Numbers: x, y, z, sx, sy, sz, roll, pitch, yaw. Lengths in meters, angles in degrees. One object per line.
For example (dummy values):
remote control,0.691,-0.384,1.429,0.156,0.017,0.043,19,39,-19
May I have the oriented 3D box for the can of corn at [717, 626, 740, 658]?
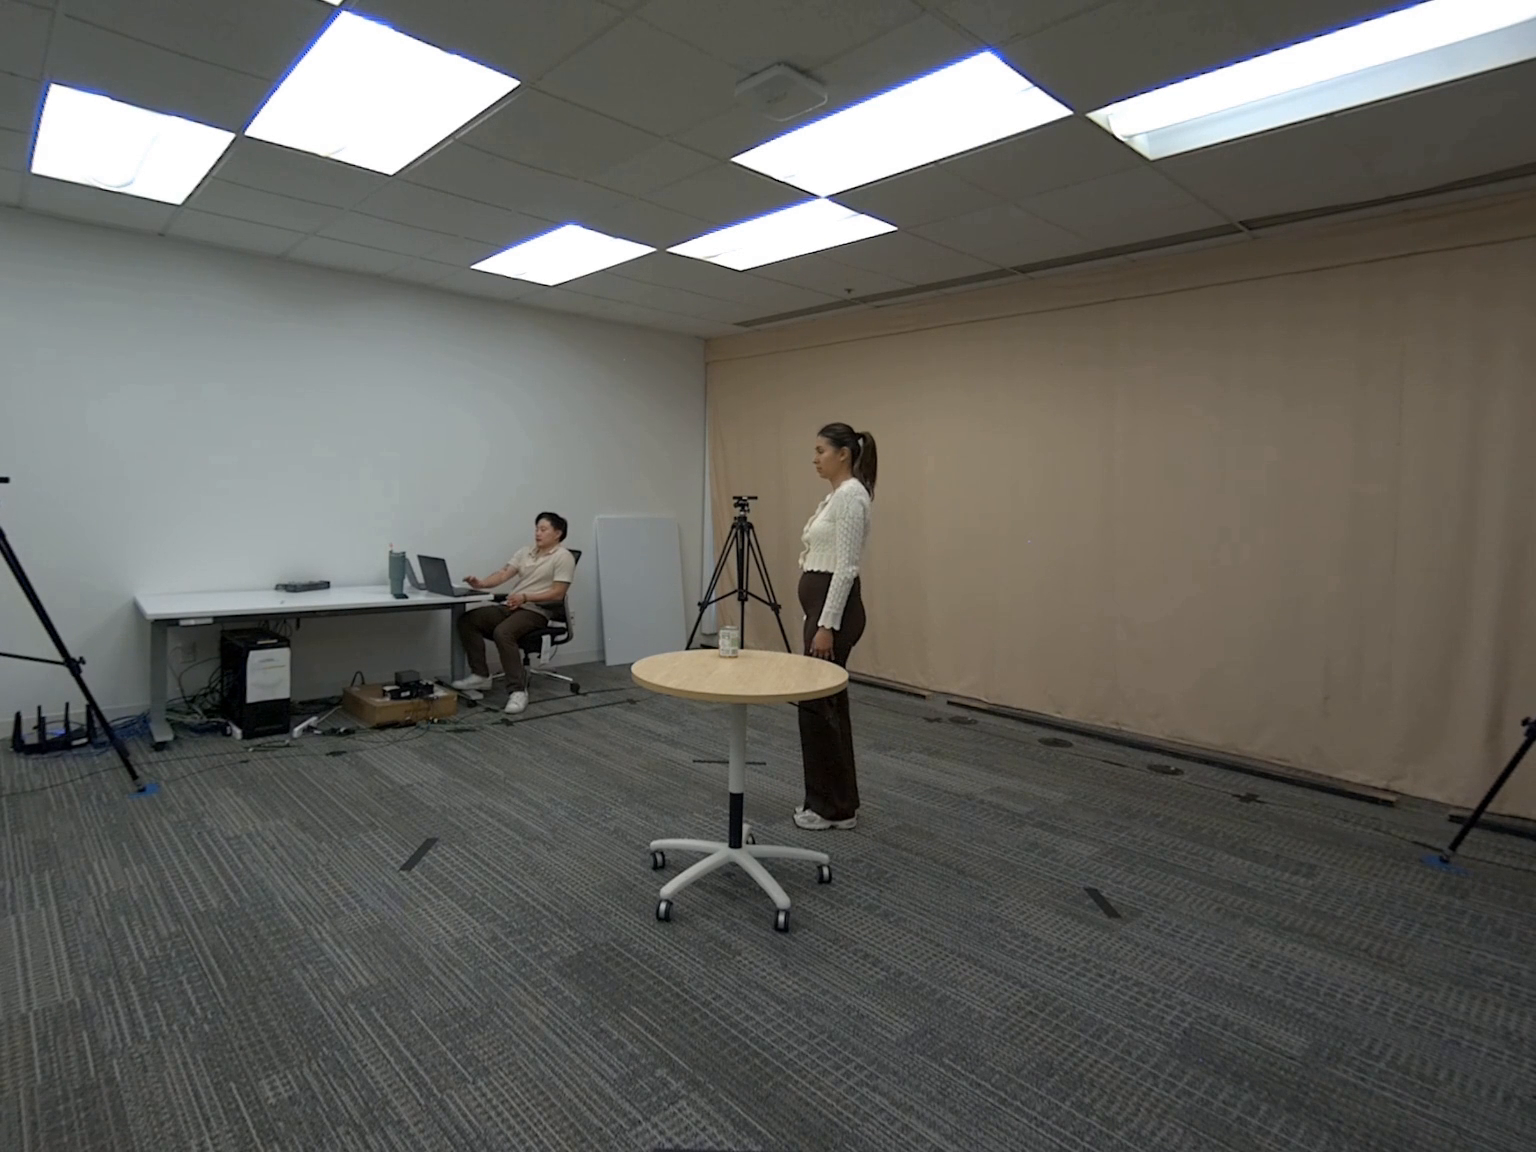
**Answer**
can of corn,-0.162,0.251,3.205,0.074,0.111,0.074,-2,3,-1
